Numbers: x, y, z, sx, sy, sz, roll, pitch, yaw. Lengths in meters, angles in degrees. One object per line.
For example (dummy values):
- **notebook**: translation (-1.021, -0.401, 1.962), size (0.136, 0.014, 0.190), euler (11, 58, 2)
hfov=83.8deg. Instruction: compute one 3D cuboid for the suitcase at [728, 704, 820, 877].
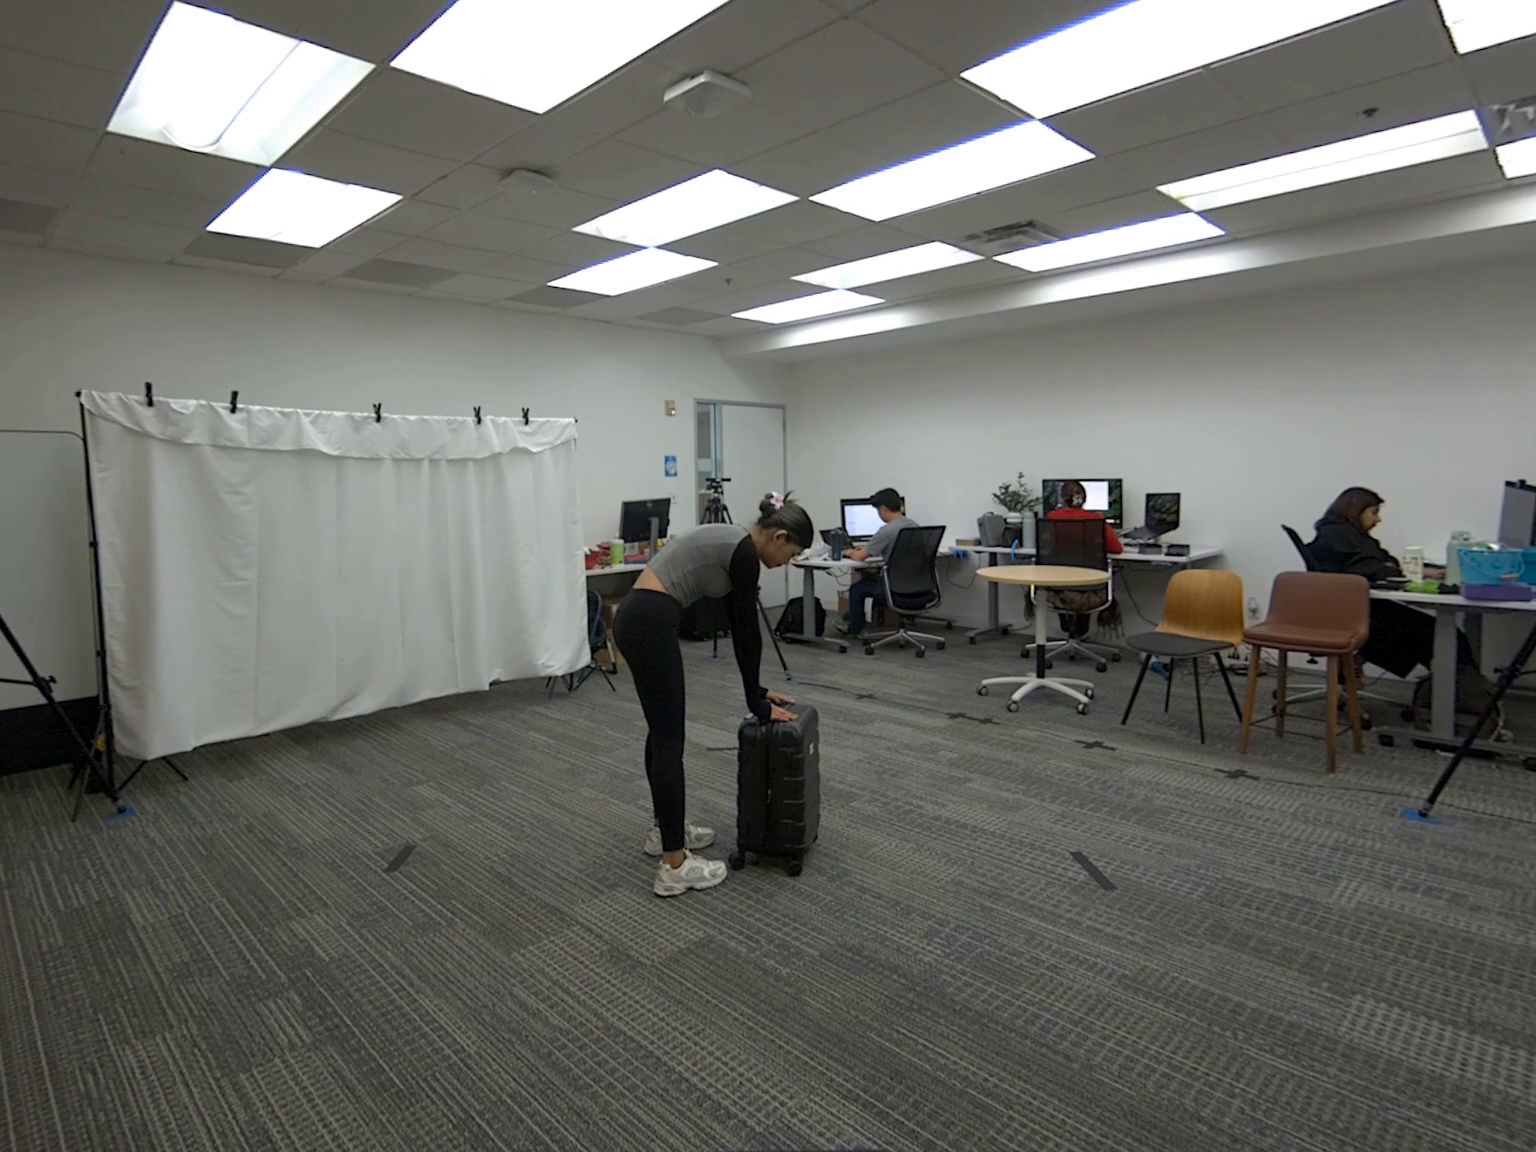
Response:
- **suitcase**: translation (0.042, 0.761, 3.171), size (0.252, 0.547, 0.370), euler (2, 4, 16)
